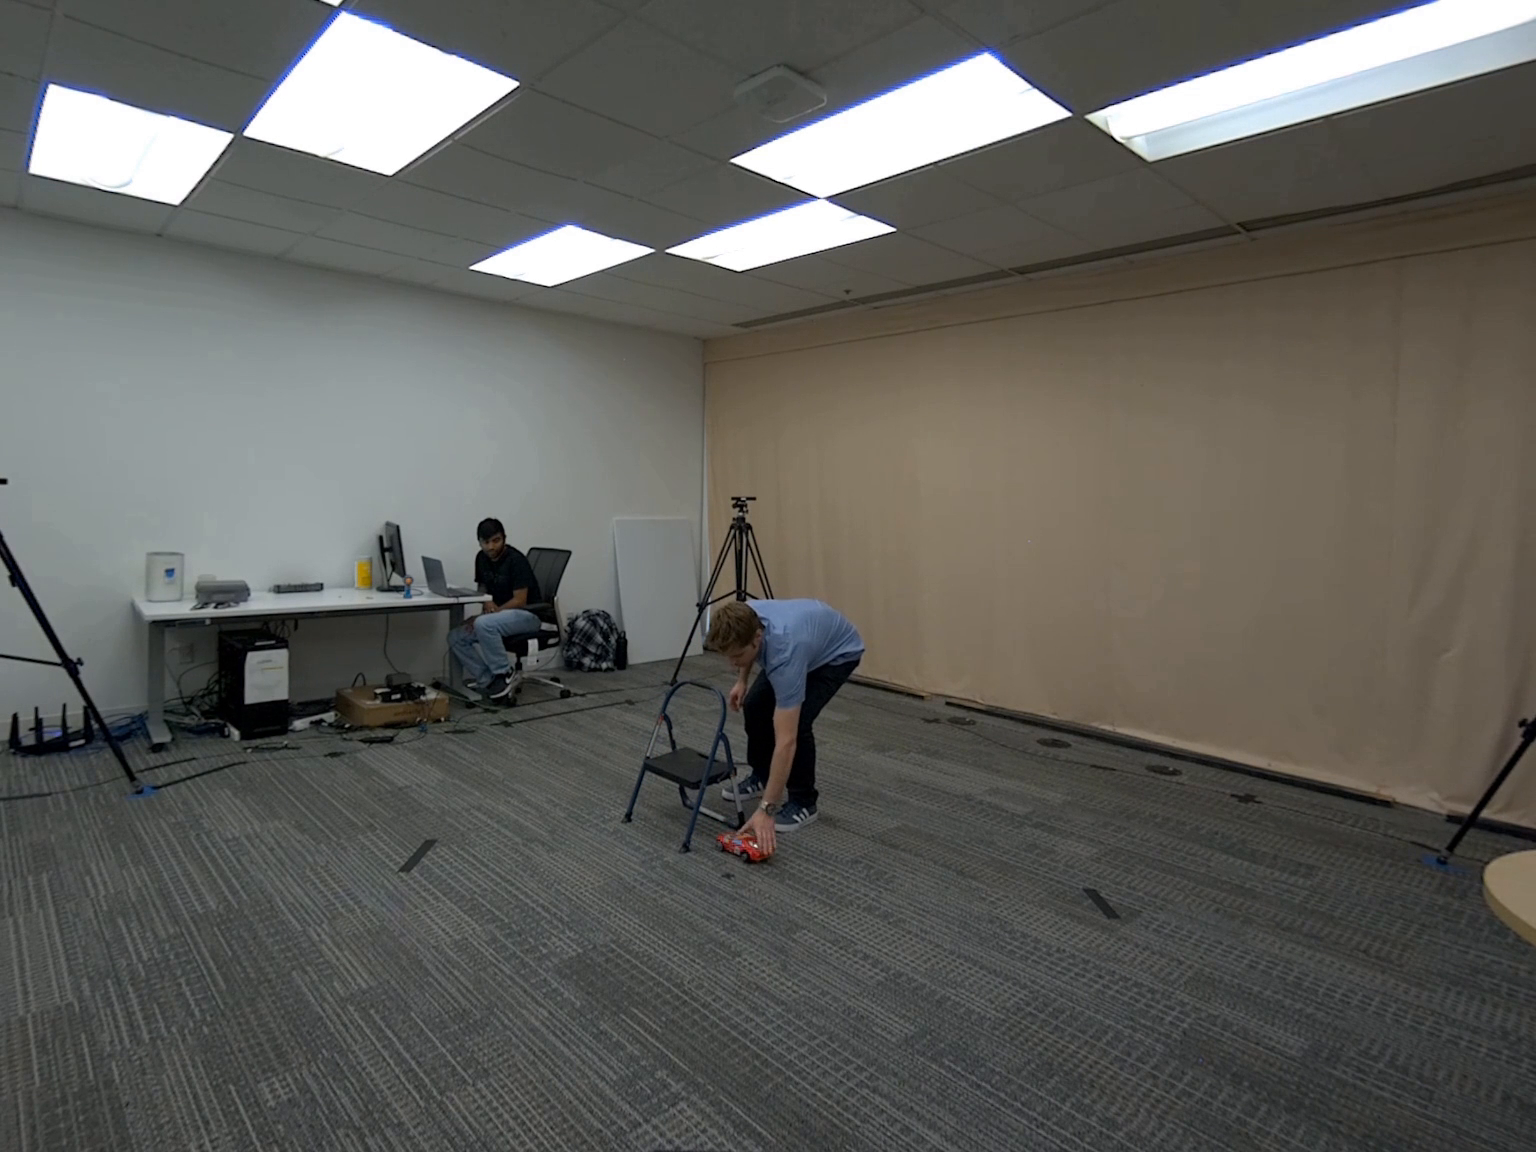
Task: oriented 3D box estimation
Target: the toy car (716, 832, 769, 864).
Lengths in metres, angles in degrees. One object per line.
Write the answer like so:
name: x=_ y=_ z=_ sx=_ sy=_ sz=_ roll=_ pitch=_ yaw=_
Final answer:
toy car: x=-0.094 y=1.061 z=3.288 sx=0.127 sy=0.083 sz=0.259 roll=-3 pitch=-4 yaw=-45
